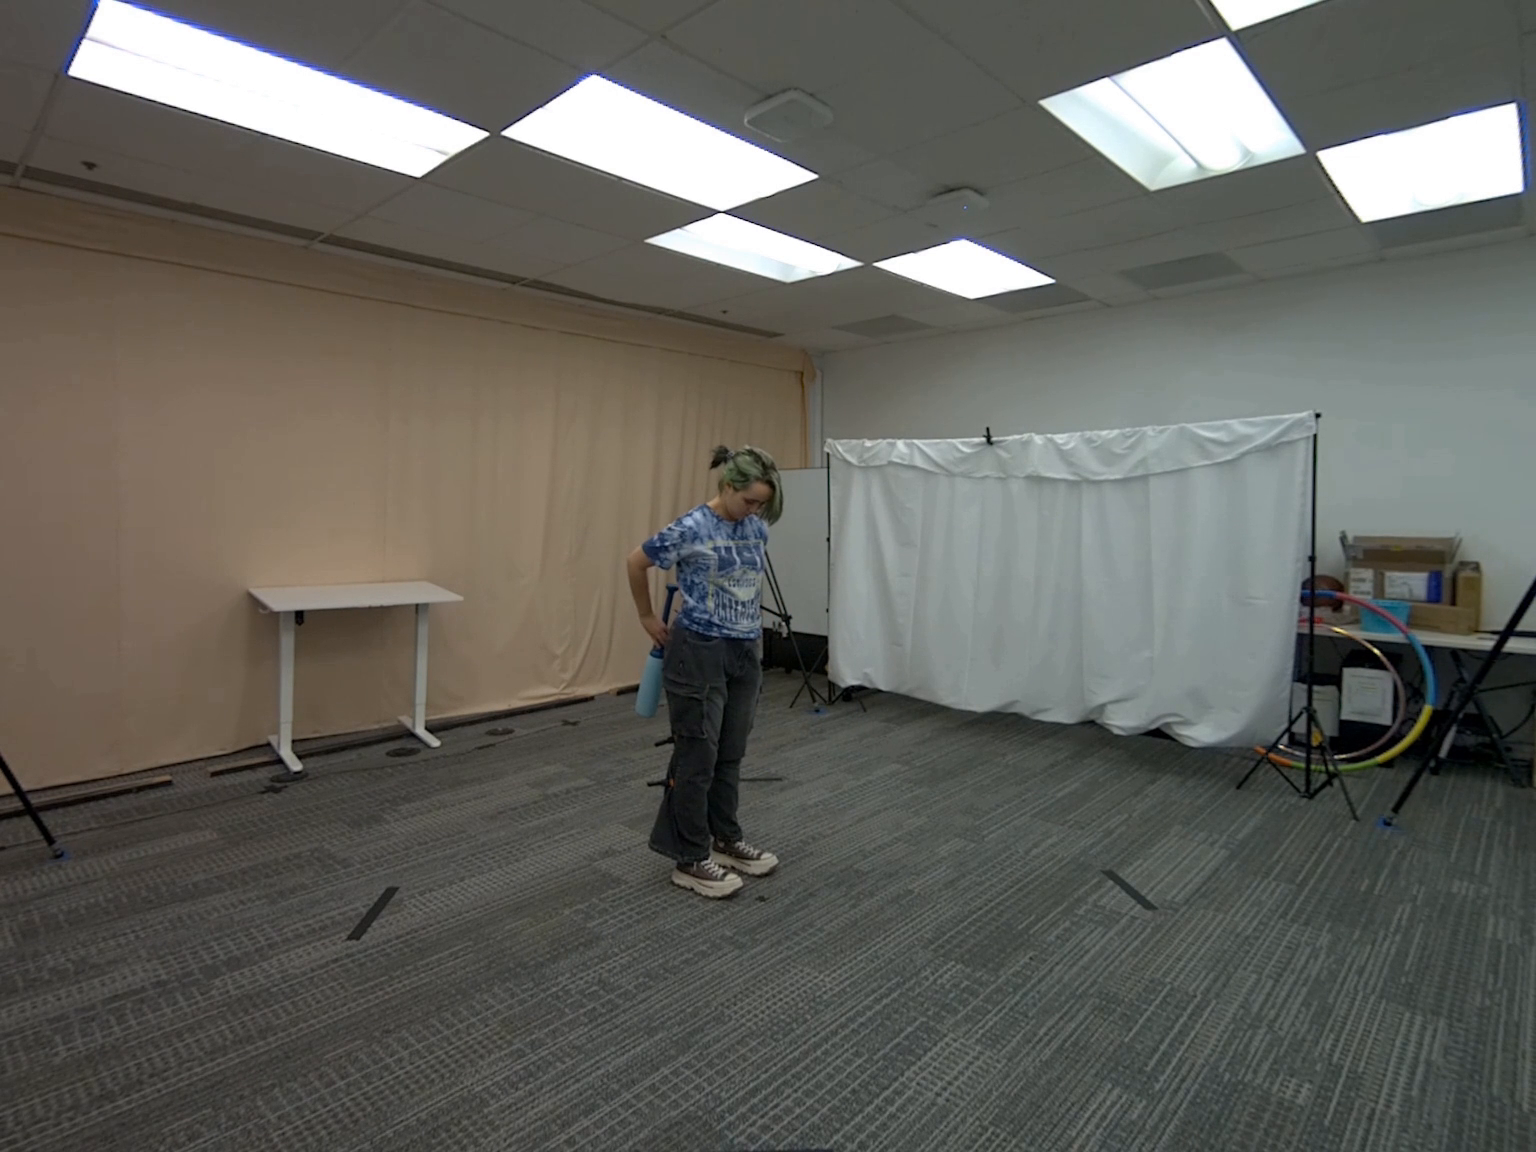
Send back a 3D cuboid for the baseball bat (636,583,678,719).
[{"bbox_3d":[-0.427,0.292,3.290,0.089,0.541,0.090,12,10,-4],"label":"baseball bat"}]
